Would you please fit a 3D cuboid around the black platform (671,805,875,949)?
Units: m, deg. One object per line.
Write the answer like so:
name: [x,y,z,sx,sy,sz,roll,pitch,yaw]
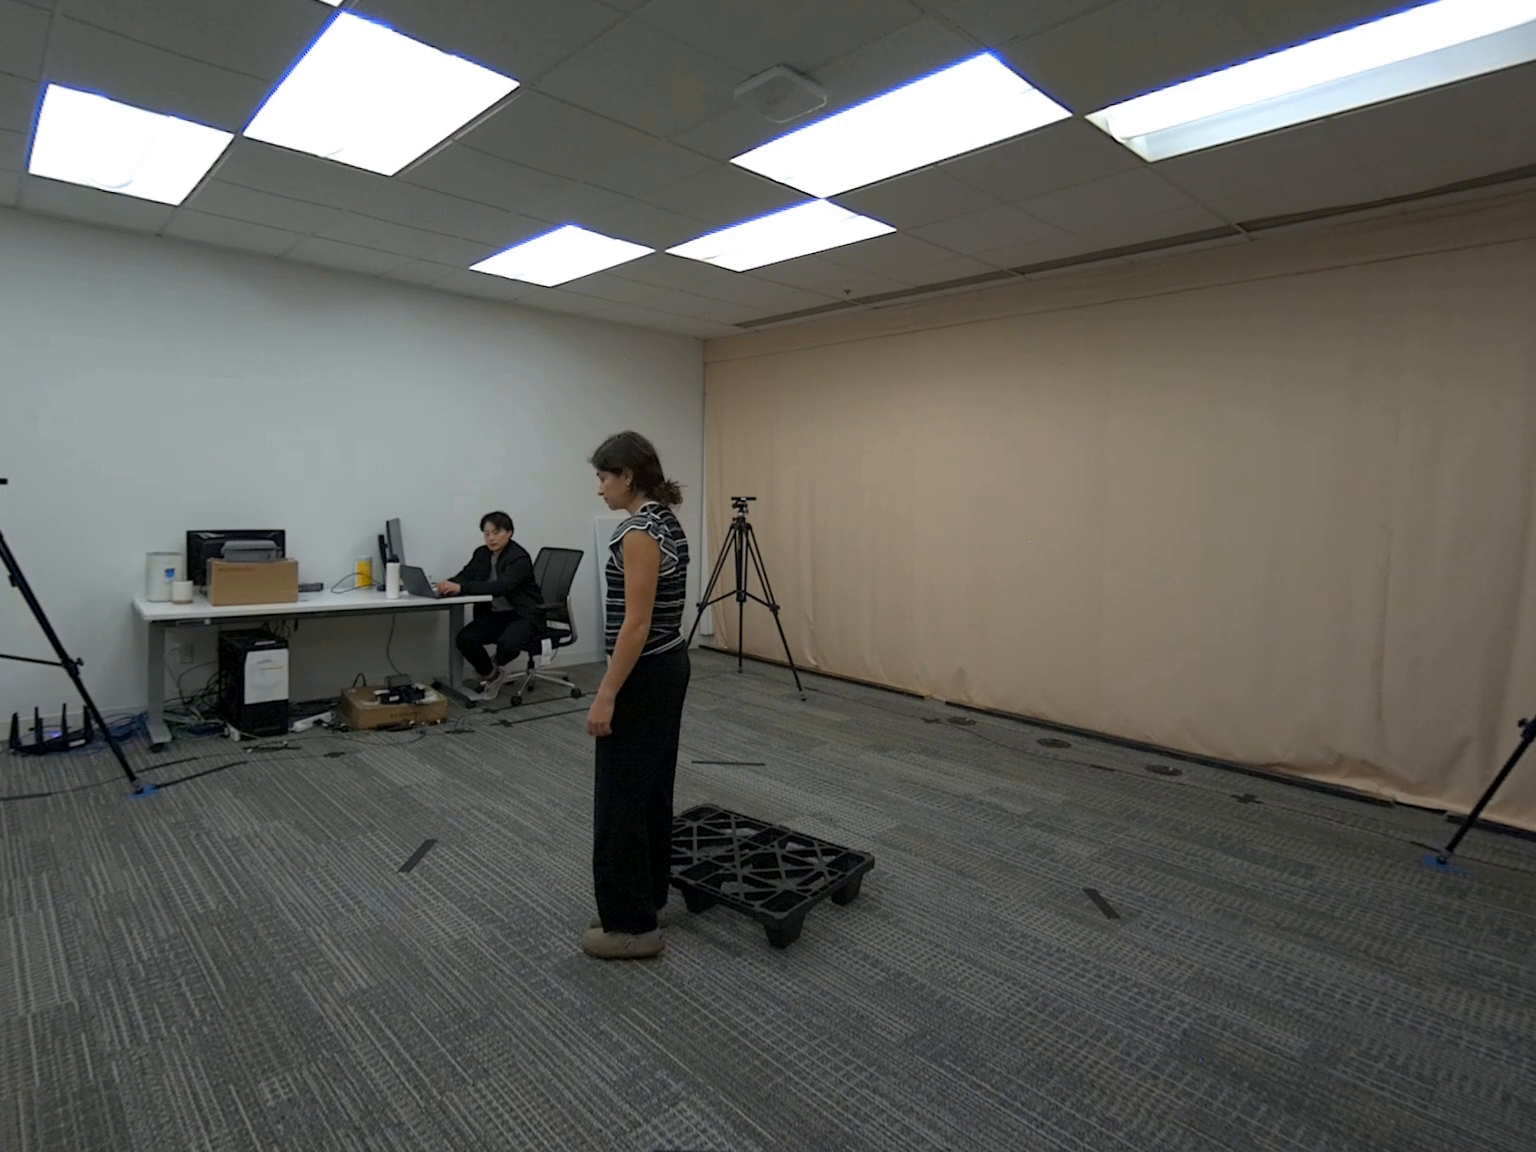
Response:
black platform: [-0.117,1.050,3.001,0.825,0.143,0.592,5,7,37]
